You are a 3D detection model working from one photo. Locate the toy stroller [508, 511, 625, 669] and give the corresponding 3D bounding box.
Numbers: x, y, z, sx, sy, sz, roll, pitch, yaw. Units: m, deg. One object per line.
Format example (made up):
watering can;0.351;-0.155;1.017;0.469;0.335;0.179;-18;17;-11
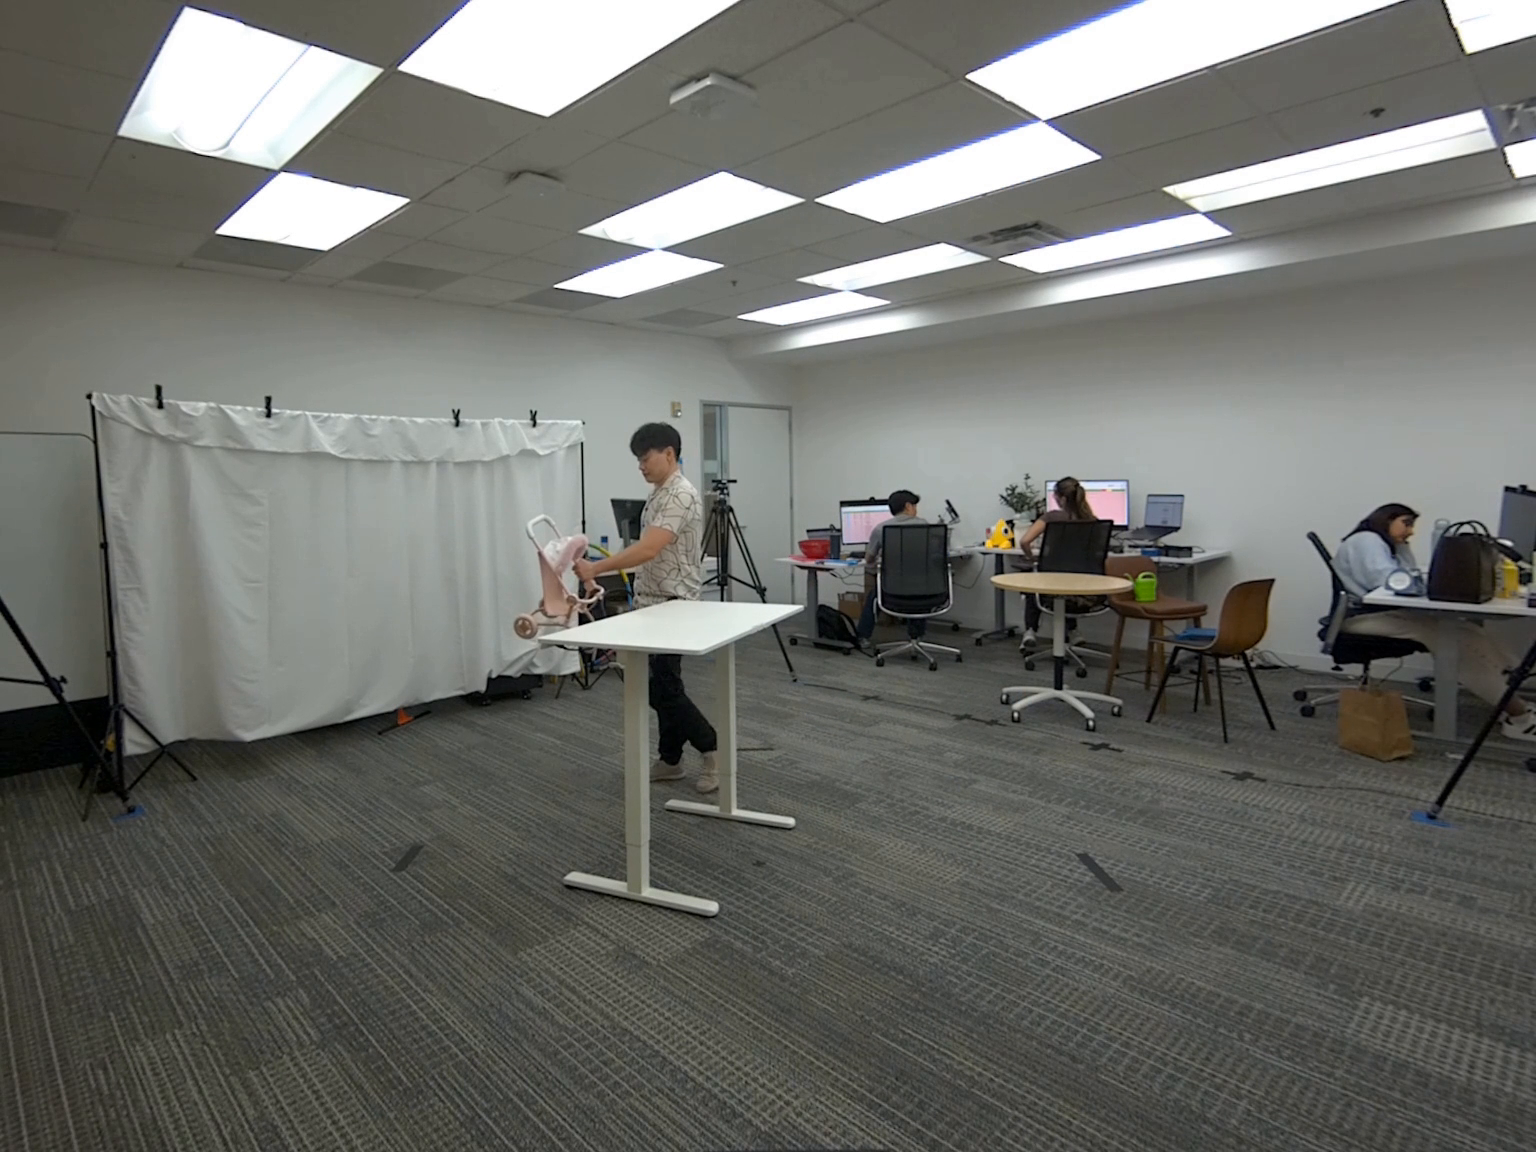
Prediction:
toy stroller;-0.839;0.047;3.559;0.347;0.529;0.280;12;16;13
